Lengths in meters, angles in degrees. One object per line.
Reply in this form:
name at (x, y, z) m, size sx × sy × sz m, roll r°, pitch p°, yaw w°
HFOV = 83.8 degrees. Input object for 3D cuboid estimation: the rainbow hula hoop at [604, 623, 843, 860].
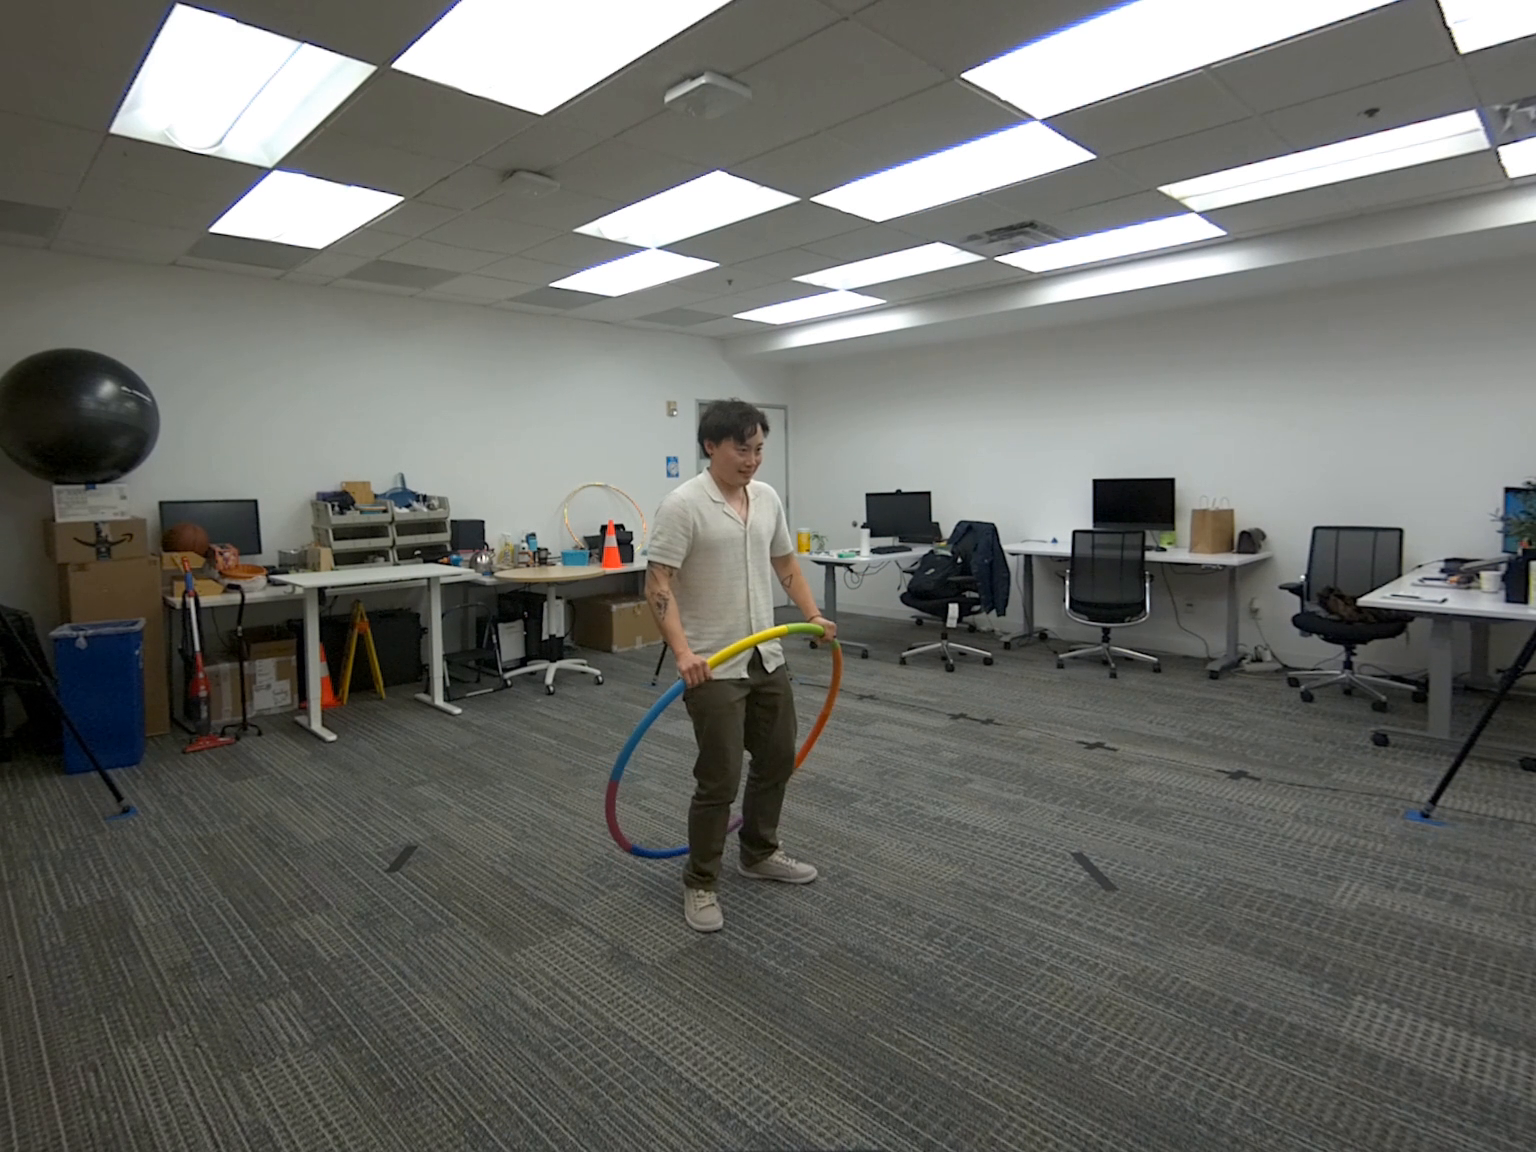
rainbow hula hoop at (-0.120, 0.547, 2.874) m, size 0.953 × 0.968 × 0.037 m, roll -6°, pitch 37°, yaw -46°
